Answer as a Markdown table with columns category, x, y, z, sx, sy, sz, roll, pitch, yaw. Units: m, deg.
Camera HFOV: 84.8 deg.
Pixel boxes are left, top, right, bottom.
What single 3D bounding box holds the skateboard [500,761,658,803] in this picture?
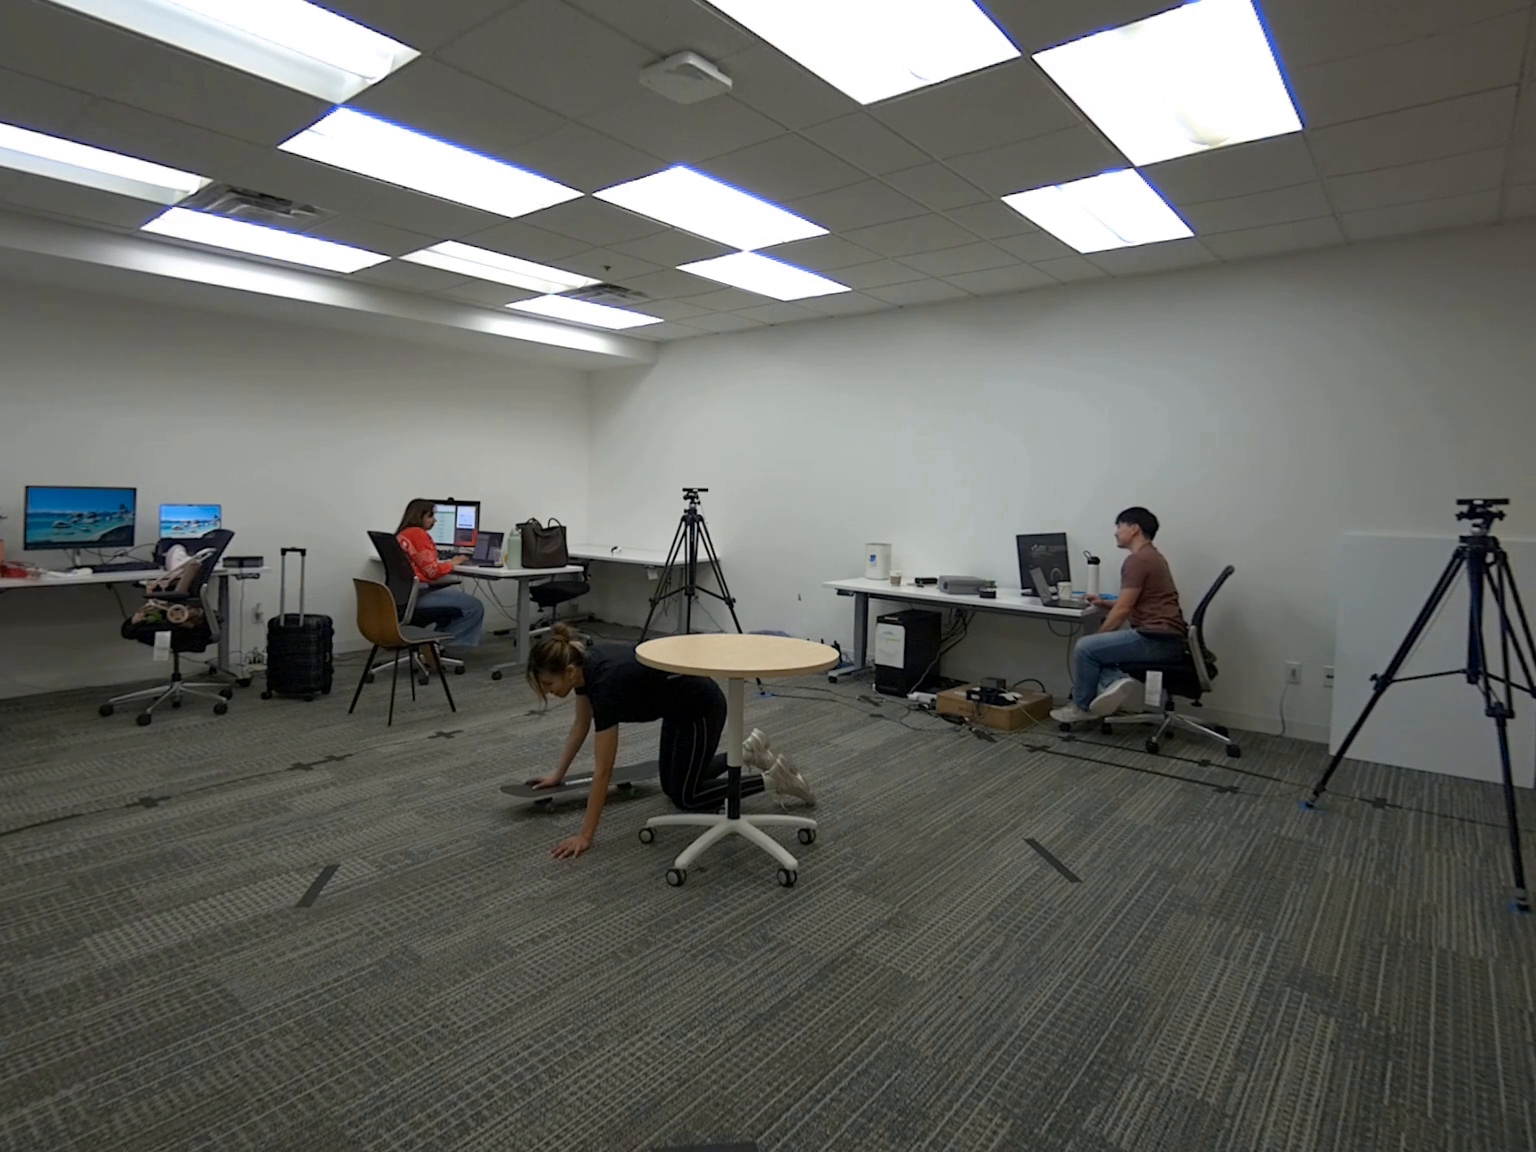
| category | x | y | z | sx | sy | sz | roll | pitch | yaw |
| --- | --- | --- | --- | --- | --- | --- | --- | --- | --- |
| skateboard | -0.826 | 0.941 | 3.792 | 0.764 | 0.110 | 0.199 | -2 | 4 | -32 |
